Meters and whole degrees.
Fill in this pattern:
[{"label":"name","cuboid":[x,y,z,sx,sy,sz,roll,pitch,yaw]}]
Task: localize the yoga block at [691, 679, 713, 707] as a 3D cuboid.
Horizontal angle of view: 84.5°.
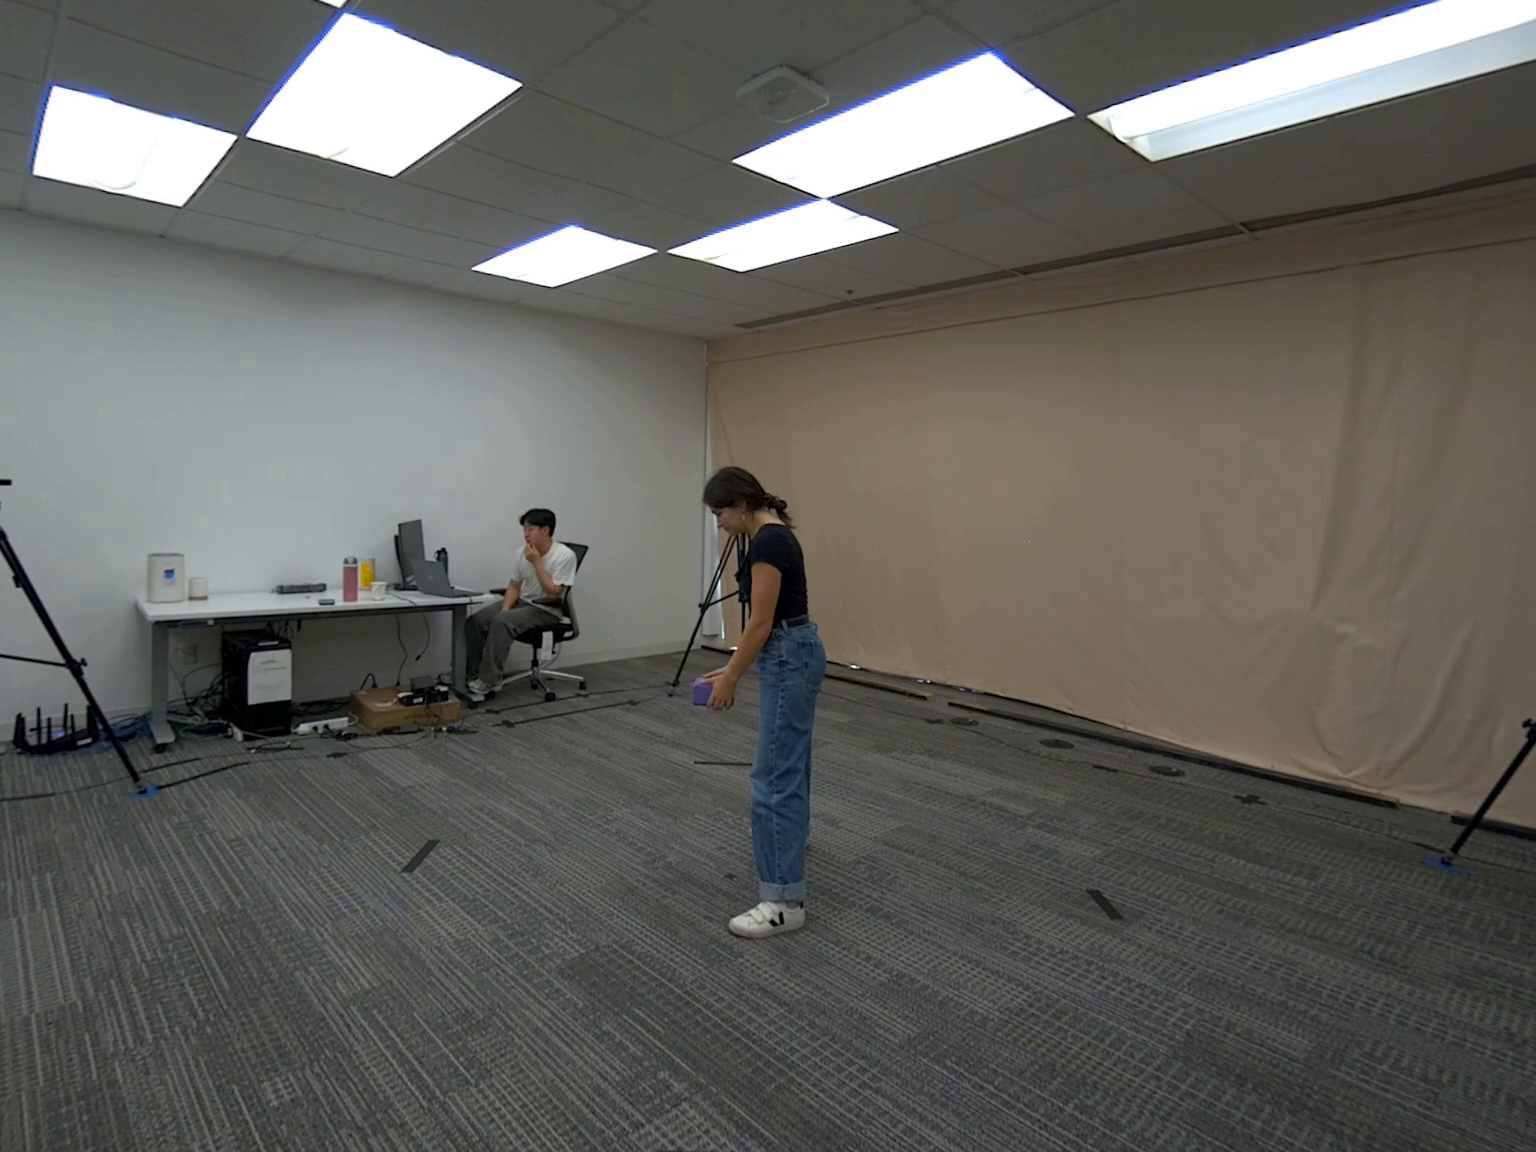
[{"label":"yoga block","cuboid":[-0.198,0.423,3.090,0.149,0.076,0.229,1,1,-2]}]
